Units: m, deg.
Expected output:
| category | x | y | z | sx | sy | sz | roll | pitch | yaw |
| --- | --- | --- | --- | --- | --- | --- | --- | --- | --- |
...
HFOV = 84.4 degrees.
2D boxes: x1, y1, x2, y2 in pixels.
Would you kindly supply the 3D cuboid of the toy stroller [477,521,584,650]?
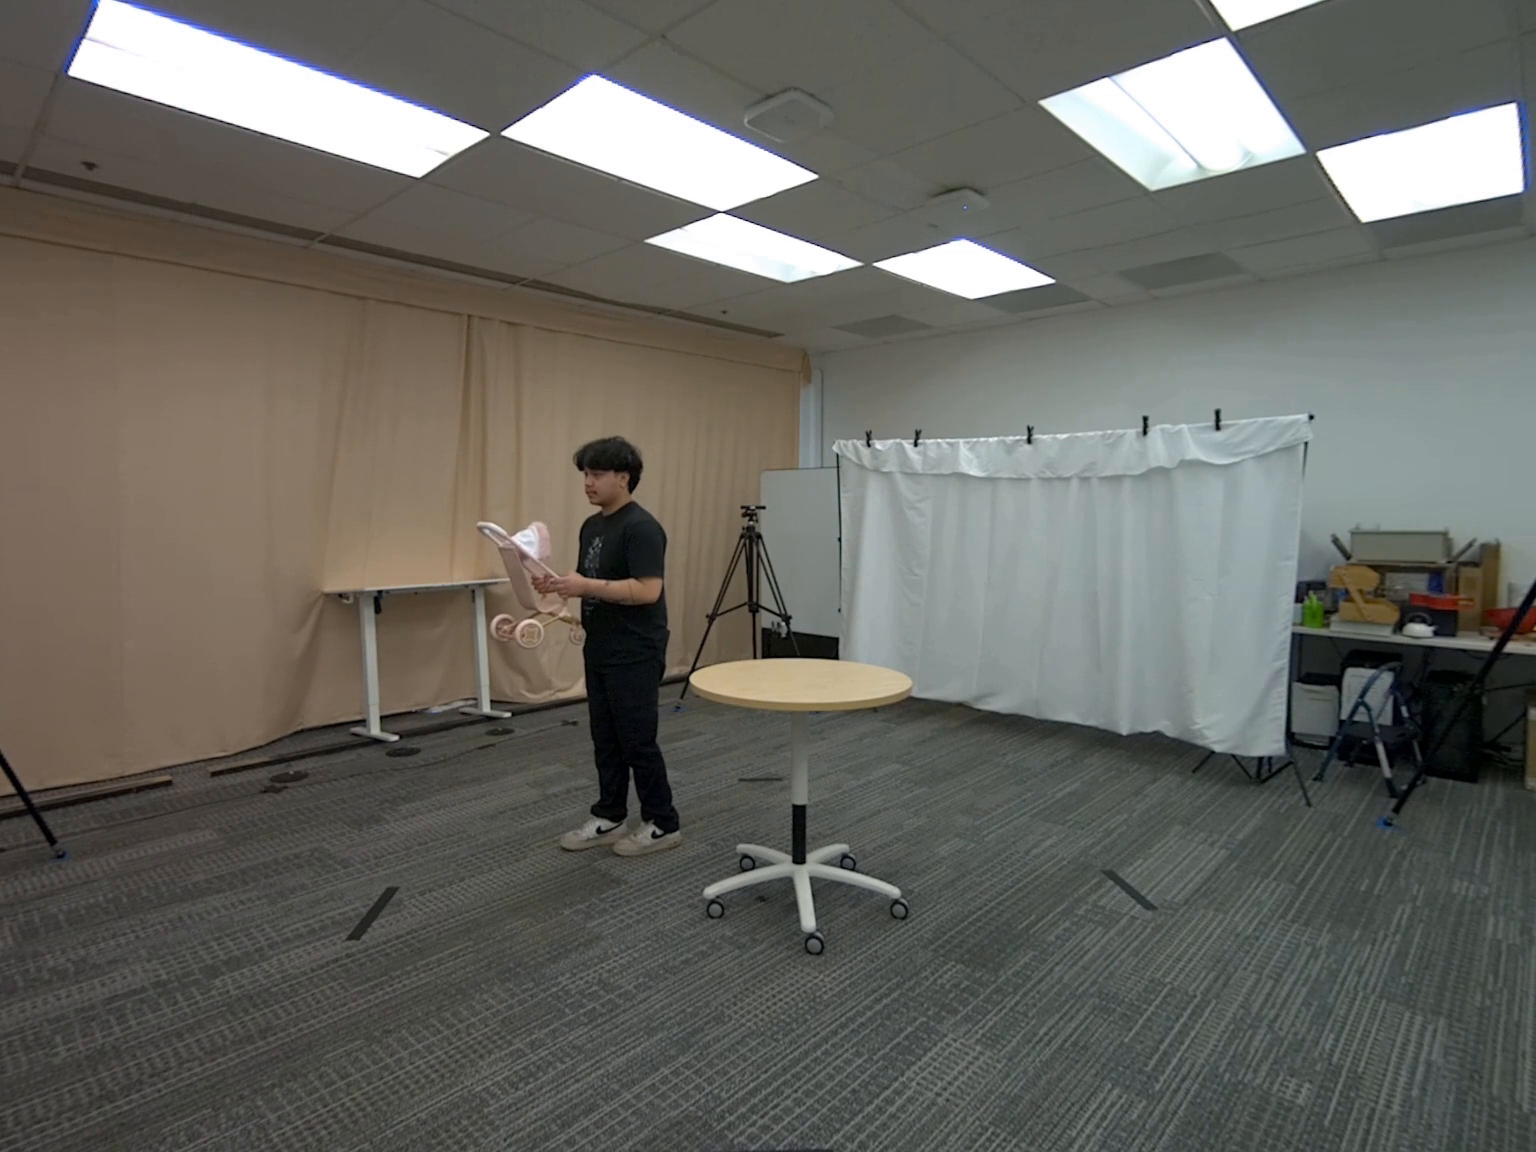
| category | x | y | z | sx | sy | sz | roll | pitch | yaw |
| --- | --- | --- | --- | --- | --- | --- | --- | --- | --- |
| toy stroller | -0.874 | 0.037 | 3.210 | 0.333 | 0.533 | 0.290 | -11 | 7 | -31 |
